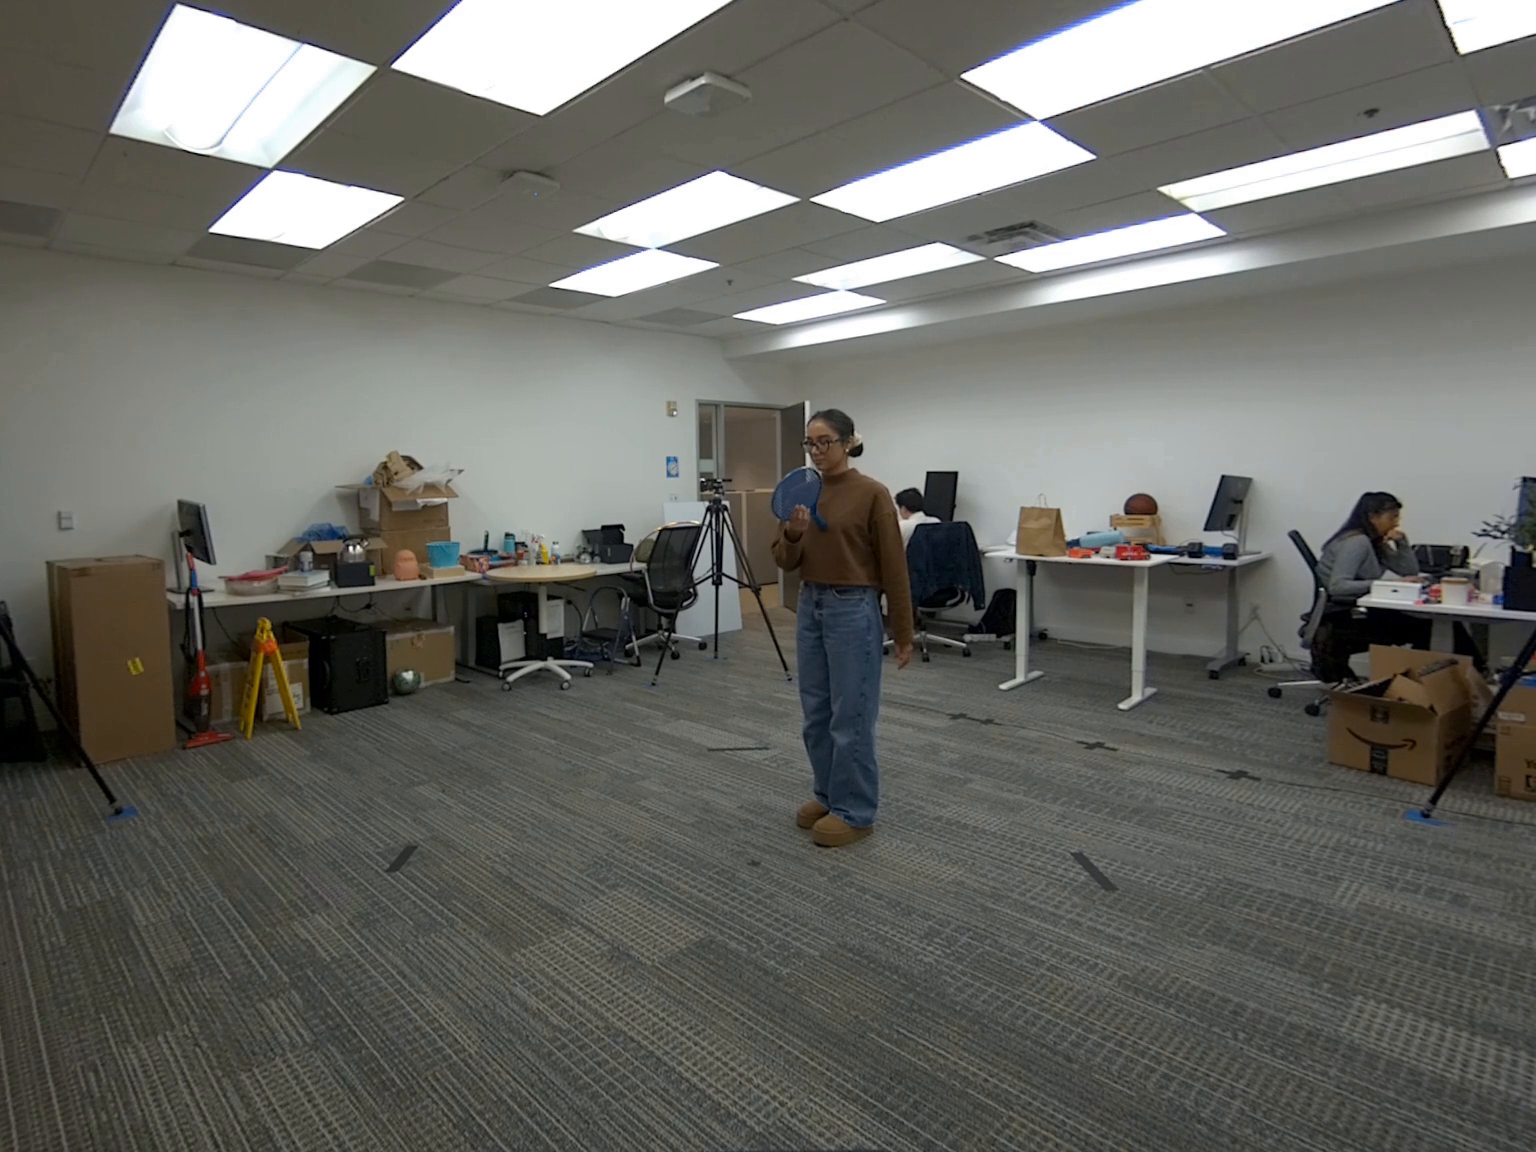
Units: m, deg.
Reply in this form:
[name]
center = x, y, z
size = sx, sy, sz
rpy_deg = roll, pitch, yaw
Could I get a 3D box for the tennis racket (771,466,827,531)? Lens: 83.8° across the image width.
[tennis racket]
center = 0.140, -0.259, 3.062
size = 0.033, 0.214, 0.418
rpy_deg = 41, 2, 30
